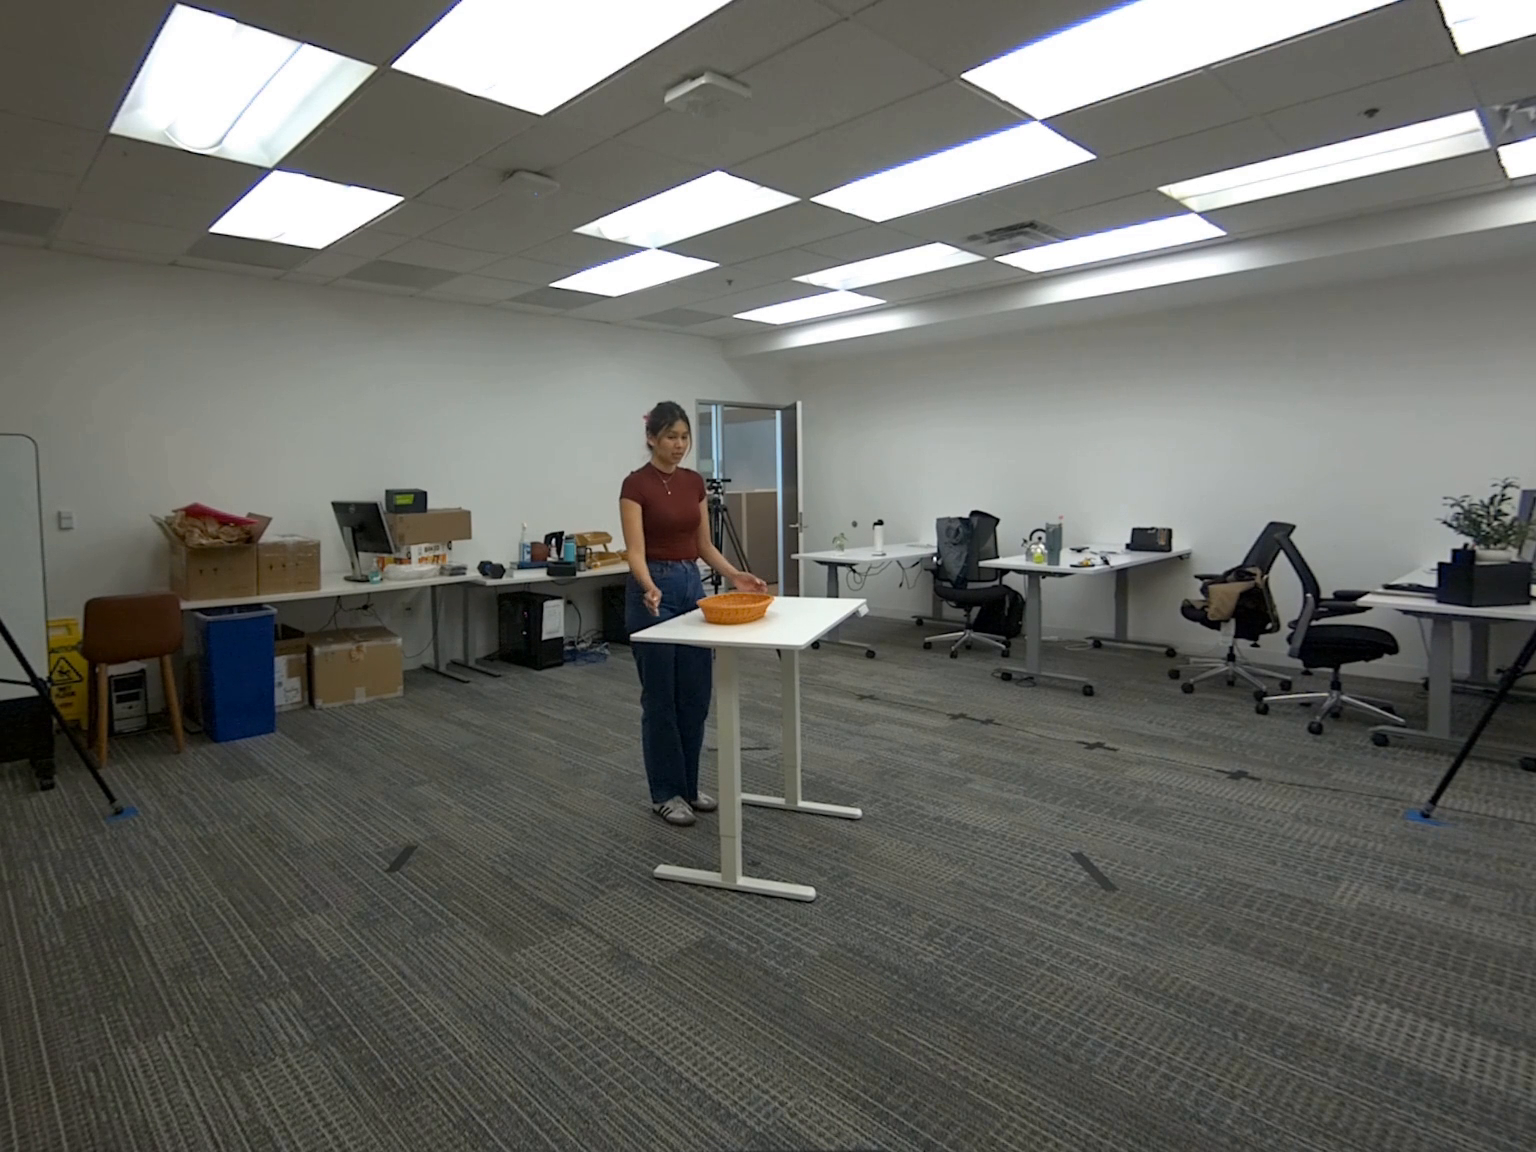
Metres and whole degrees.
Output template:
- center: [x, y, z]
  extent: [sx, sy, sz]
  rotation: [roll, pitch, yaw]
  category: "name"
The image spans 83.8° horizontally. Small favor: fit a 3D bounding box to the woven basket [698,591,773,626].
- center: [-0.126, 0.125, 3.179]
  extent: [0.258, 0.073, 0.345]
  rotation: [5, 9, 22]
  category: "woven basket"
